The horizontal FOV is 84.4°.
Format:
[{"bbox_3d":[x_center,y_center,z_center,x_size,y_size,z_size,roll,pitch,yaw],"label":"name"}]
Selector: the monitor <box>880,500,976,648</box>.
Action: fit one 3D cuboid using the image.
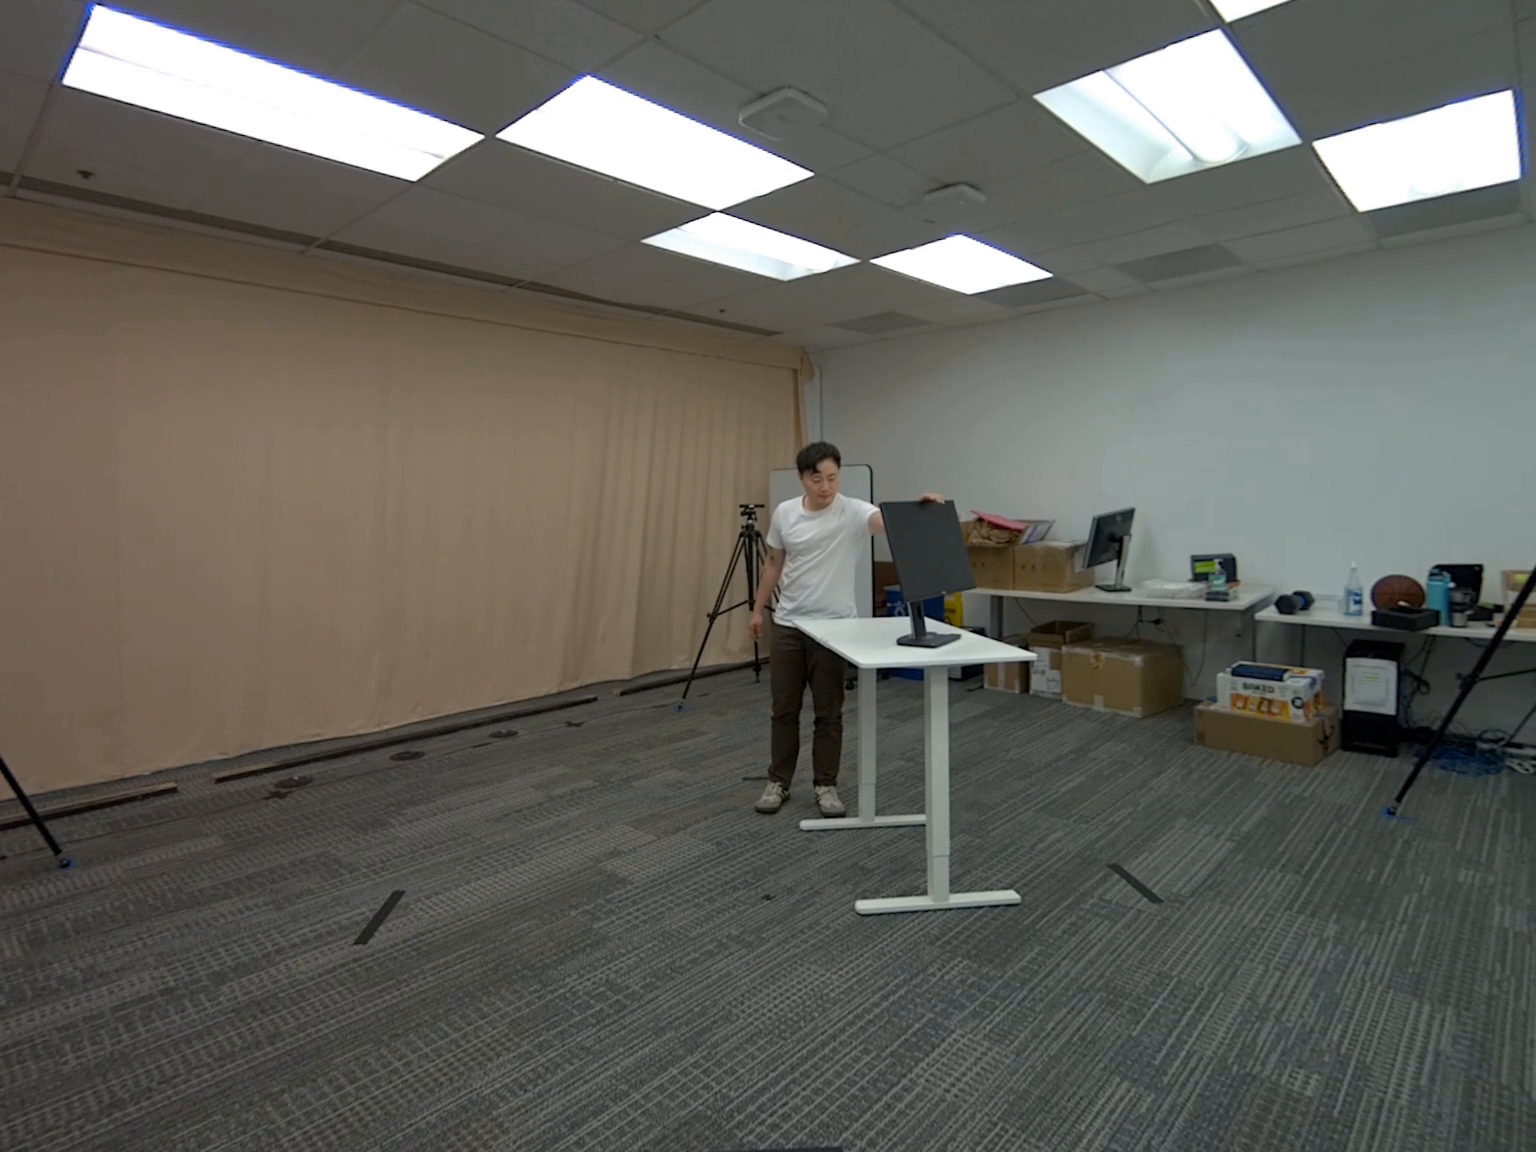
[{"bbox_3d":[0.578,-0.010,3.078,0.193,0.522,0.523,-1,4,39],"label":"monitor"}]
